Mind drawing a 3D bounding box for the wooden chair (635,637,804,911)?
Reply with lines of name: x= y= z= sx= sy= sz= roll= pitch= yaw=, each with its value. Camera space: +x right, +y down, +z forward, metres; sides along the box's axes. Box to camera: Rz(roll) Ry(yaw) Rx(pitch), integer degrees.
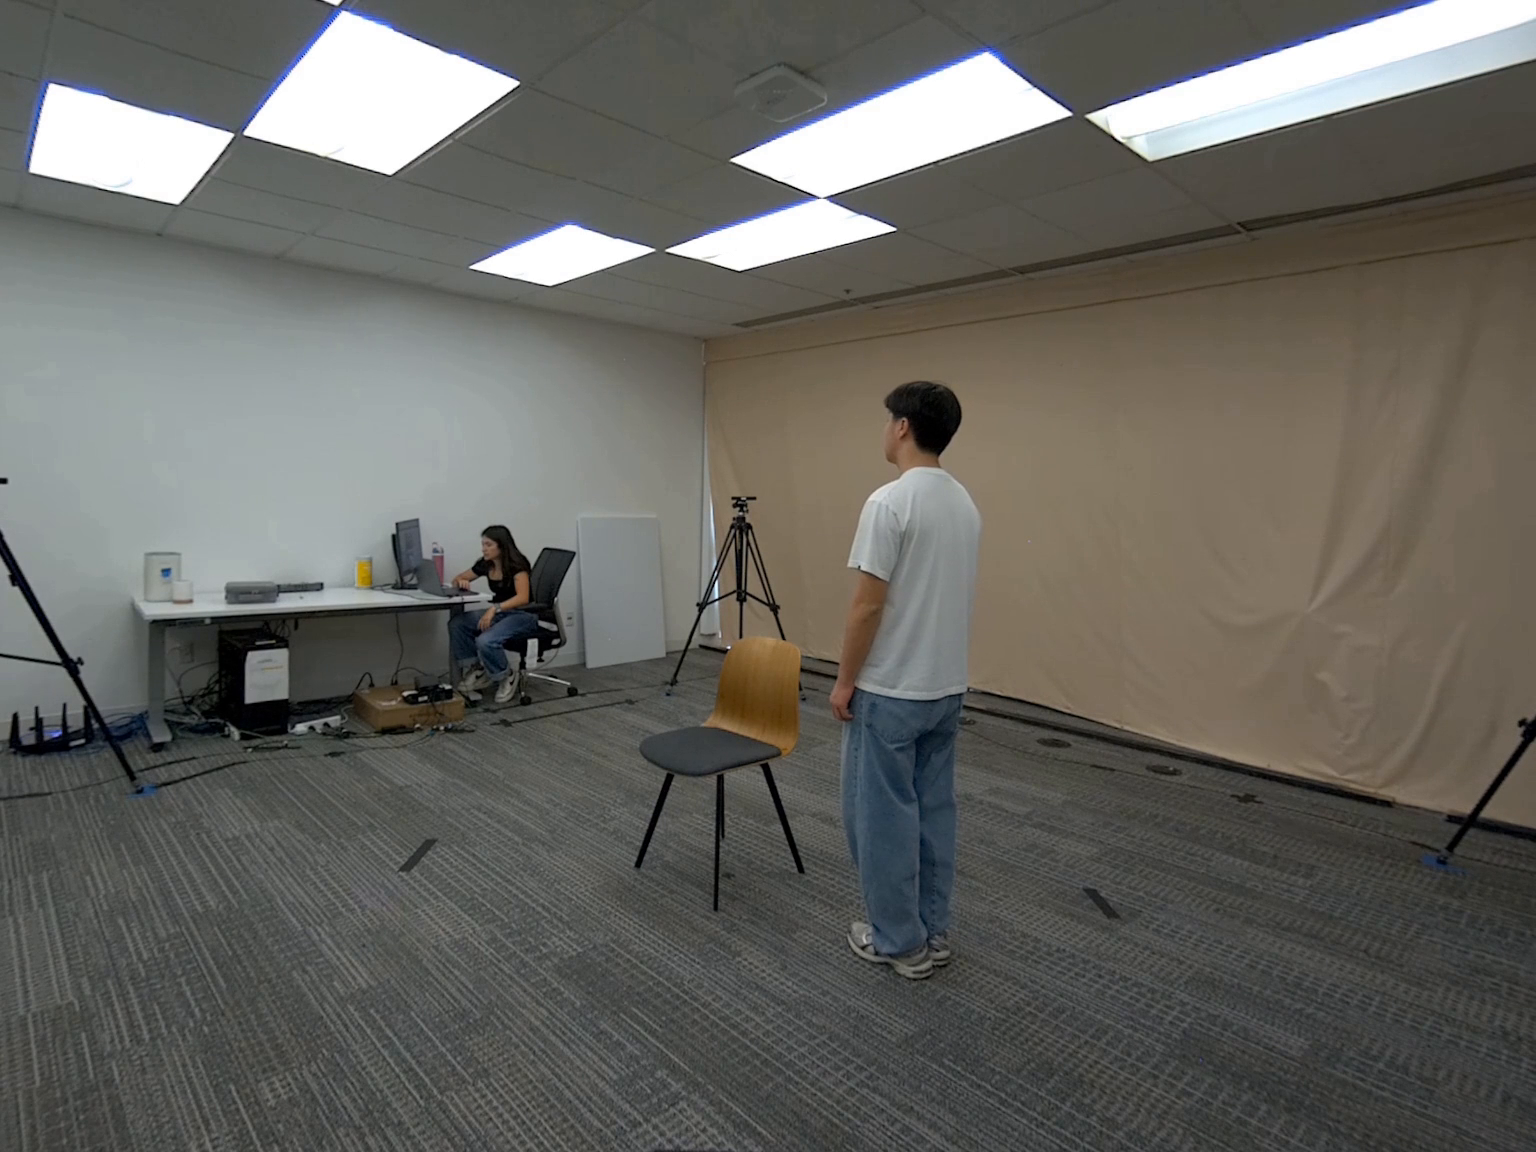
wooden chair: x=-0.182 y=0.678 z=3.111 sx=0.510 sy=0.877 sz=0.490 roll=4 pitch=0 yaw=-45
